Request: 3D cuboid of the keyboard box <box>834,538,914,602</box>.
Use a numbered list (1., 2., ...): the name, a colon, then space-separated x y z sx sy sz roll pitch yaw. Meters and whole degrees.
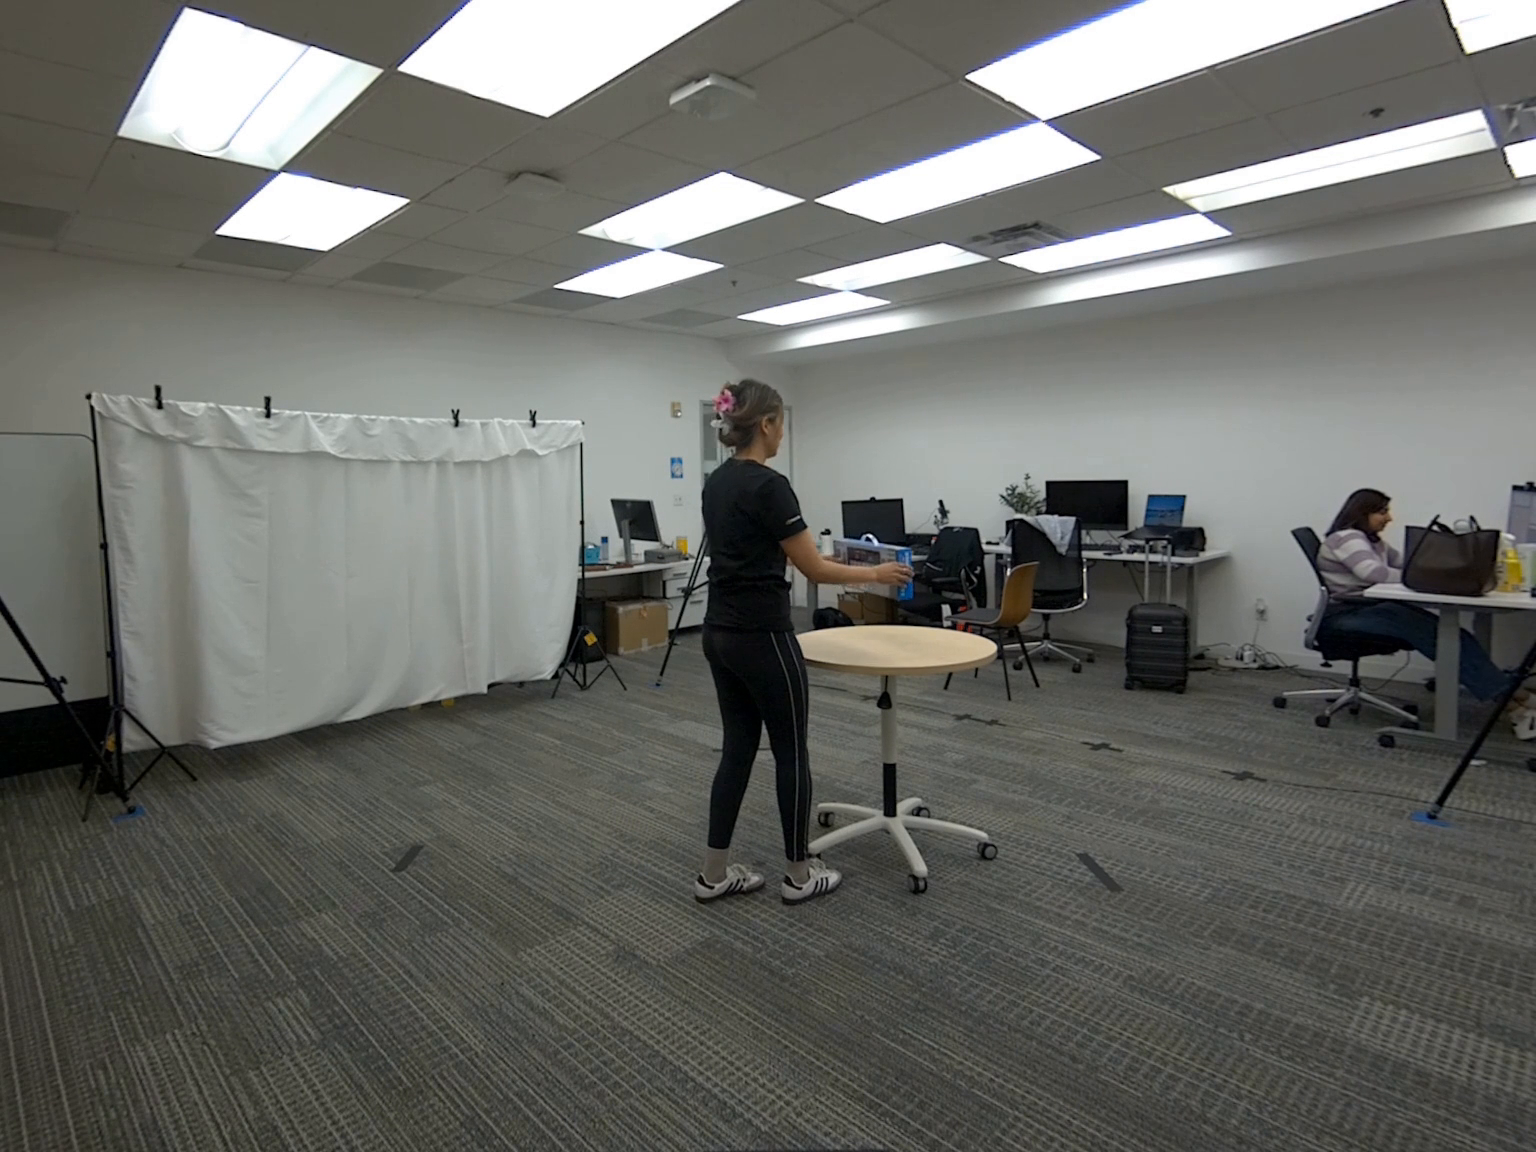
1. keyboard box: 0.365 -0.029 3.060 0.058 0.175 0.448 -6 9 -23
